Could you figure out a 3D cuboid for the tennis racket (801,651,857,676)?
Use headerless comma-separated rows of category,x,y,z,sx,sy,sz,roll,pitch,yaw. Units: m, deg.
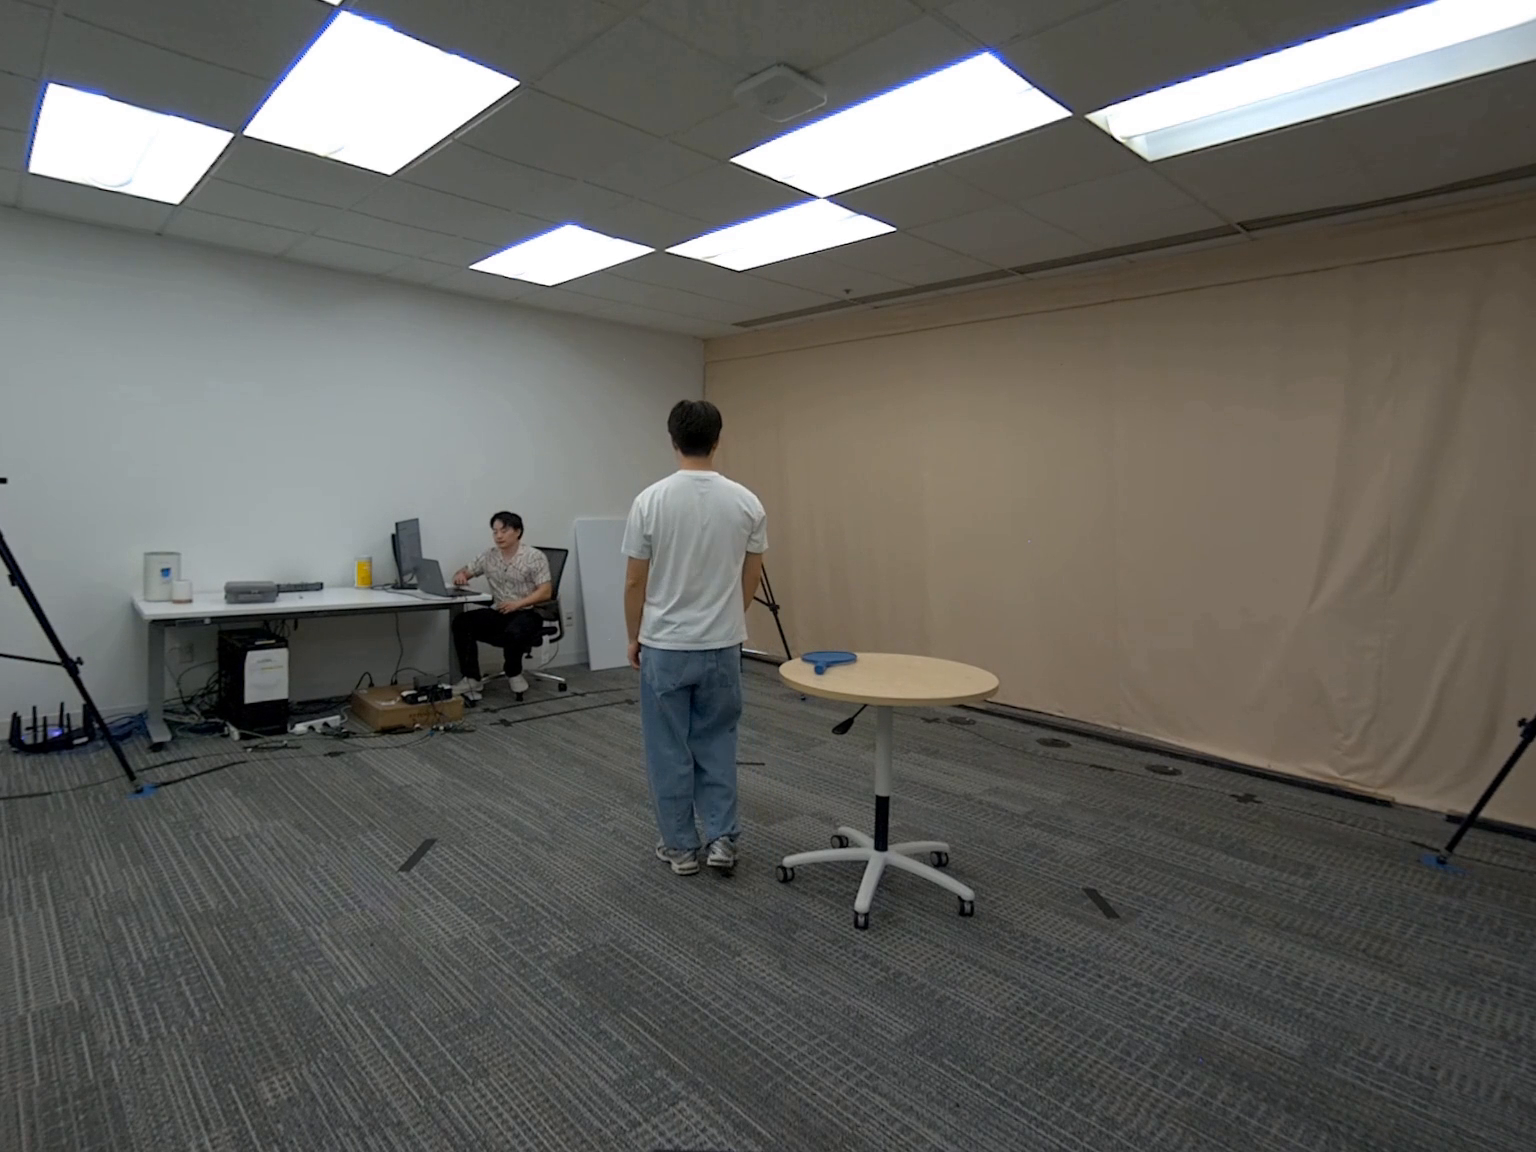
tennis racket,0.213,0.317,3.141,0.215,0.032,0.430,0,3,9
